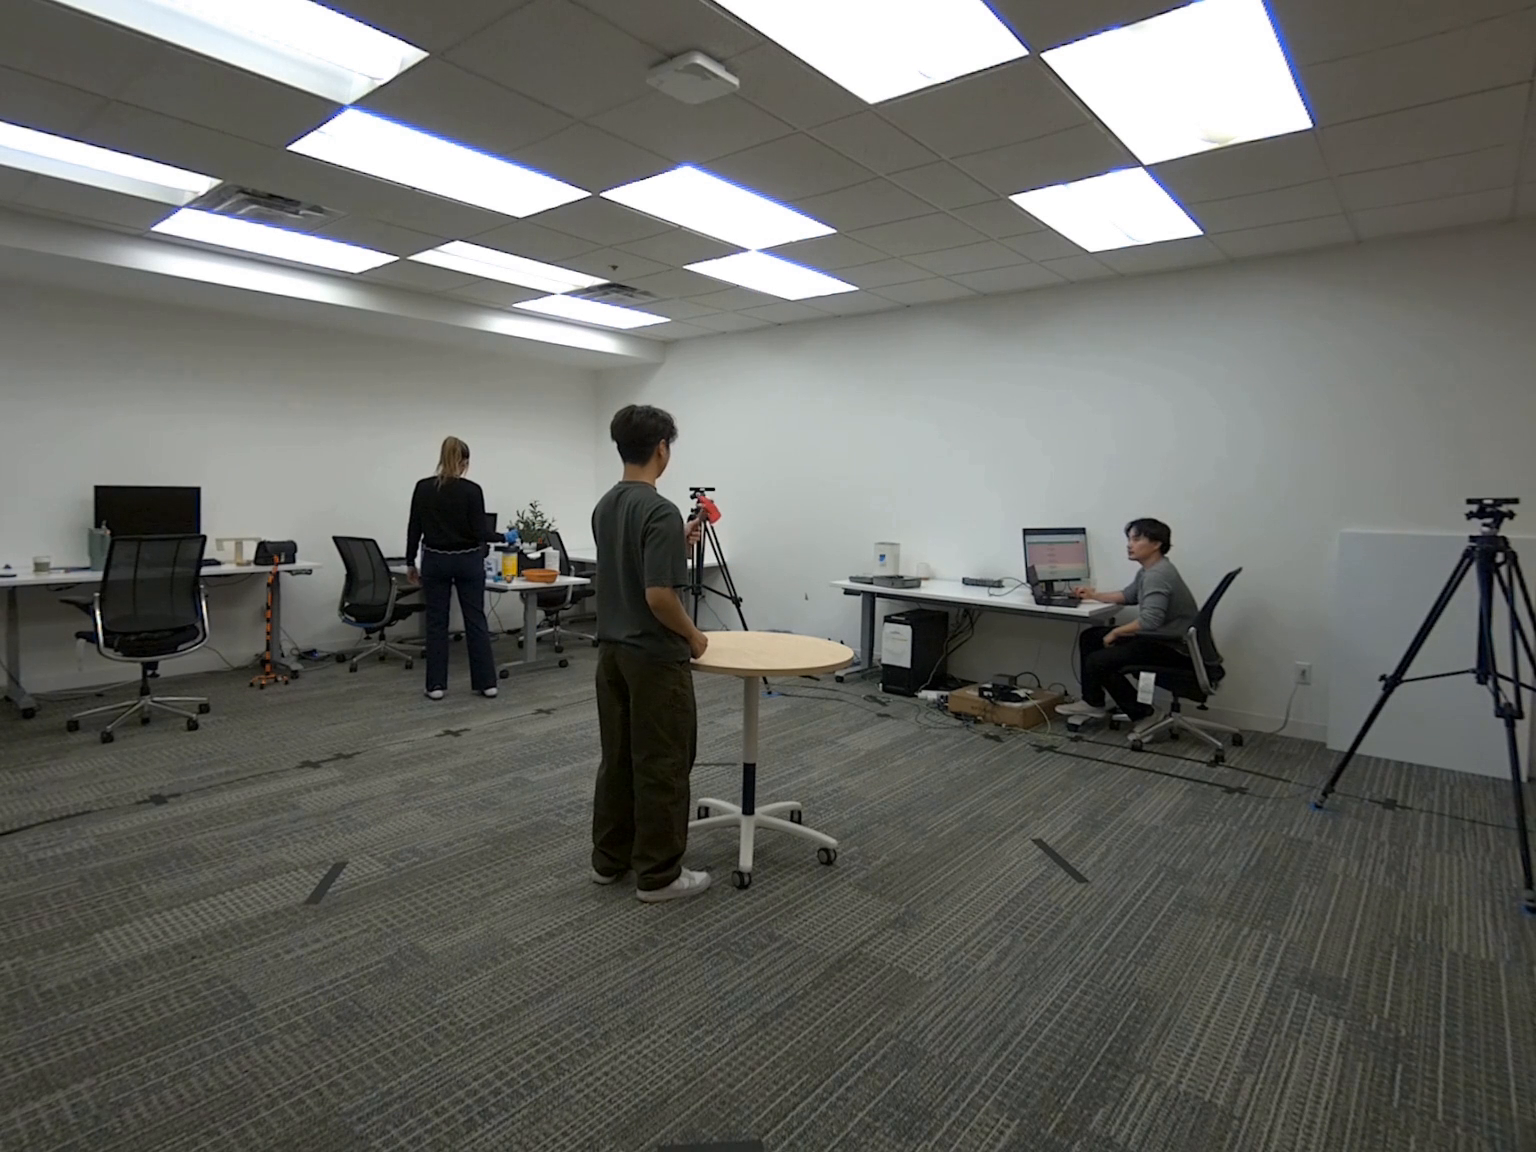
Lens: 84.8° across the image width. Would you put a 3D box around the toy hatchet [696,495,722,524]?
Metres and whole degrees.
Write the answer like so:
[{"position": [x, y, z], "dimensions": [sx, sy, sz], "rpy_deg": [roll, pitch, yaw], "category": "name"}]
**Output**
[{"position": [-0.268, -0.188, 3.367], "dimensions": [0.126, 0.274, 0.030], "rpy_deg": [24, -24, -31], "category": "toy hatchet"}]
